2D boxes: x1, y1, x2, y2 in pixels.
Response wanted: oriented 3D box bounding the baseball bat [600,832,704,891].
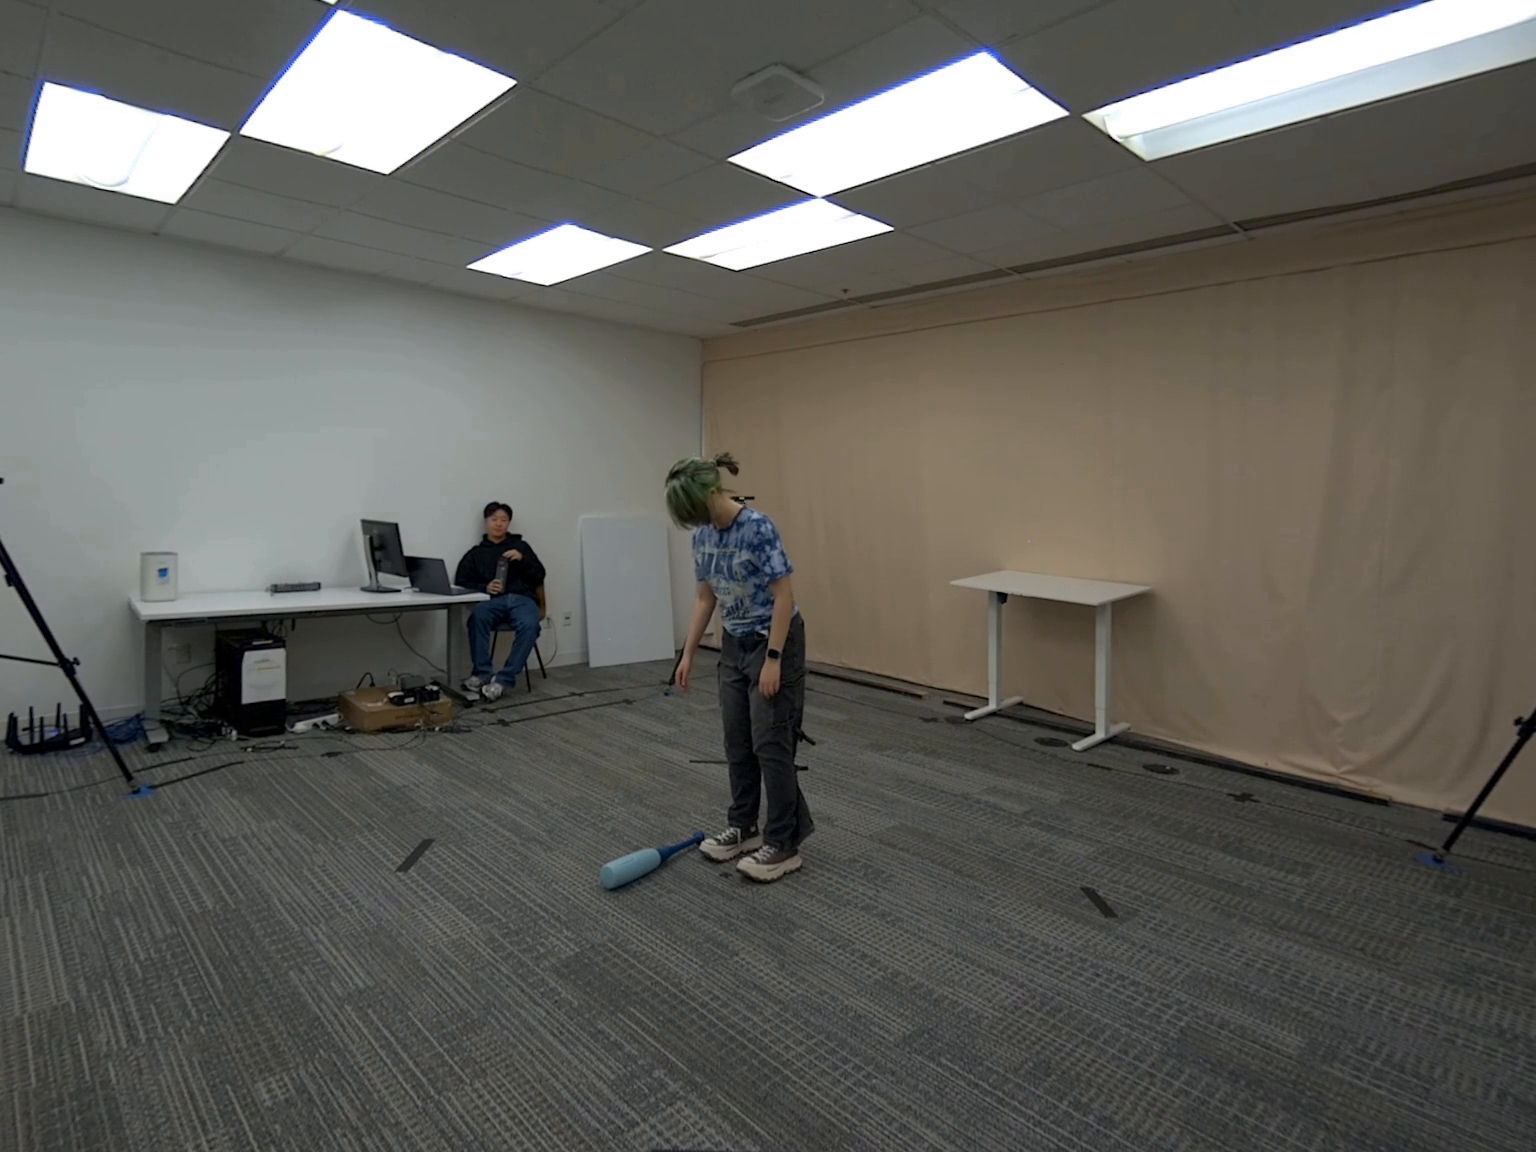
[{"bbox_3d":[-0.426,1.057,3.168,0.091,0.089,0.531,4,3,33],"label":"baseball bat"}]
